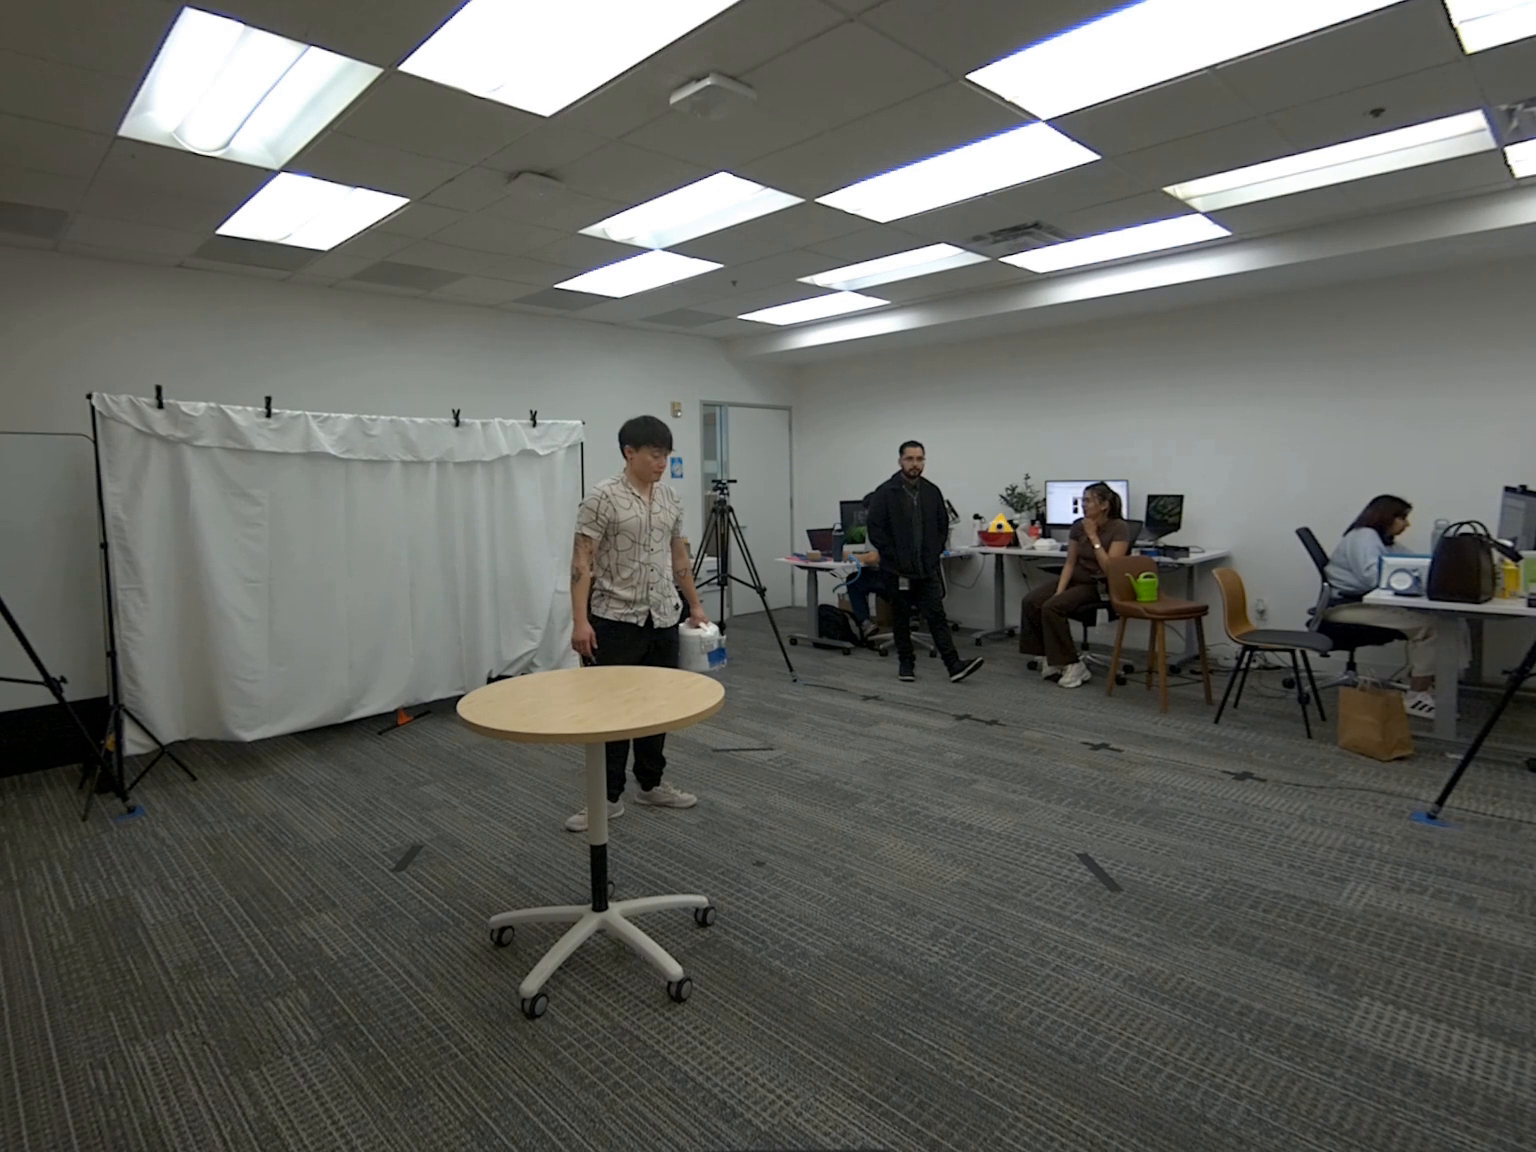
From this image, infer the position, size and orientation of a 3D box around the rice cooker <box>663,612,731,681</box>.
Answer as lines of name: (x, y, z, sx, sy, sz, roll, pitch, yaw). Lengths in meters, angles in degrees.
rice cooker: (-0.325, 0.304, 3.812, 0.212, 0.231, 0.227, -8, 10, -34)
